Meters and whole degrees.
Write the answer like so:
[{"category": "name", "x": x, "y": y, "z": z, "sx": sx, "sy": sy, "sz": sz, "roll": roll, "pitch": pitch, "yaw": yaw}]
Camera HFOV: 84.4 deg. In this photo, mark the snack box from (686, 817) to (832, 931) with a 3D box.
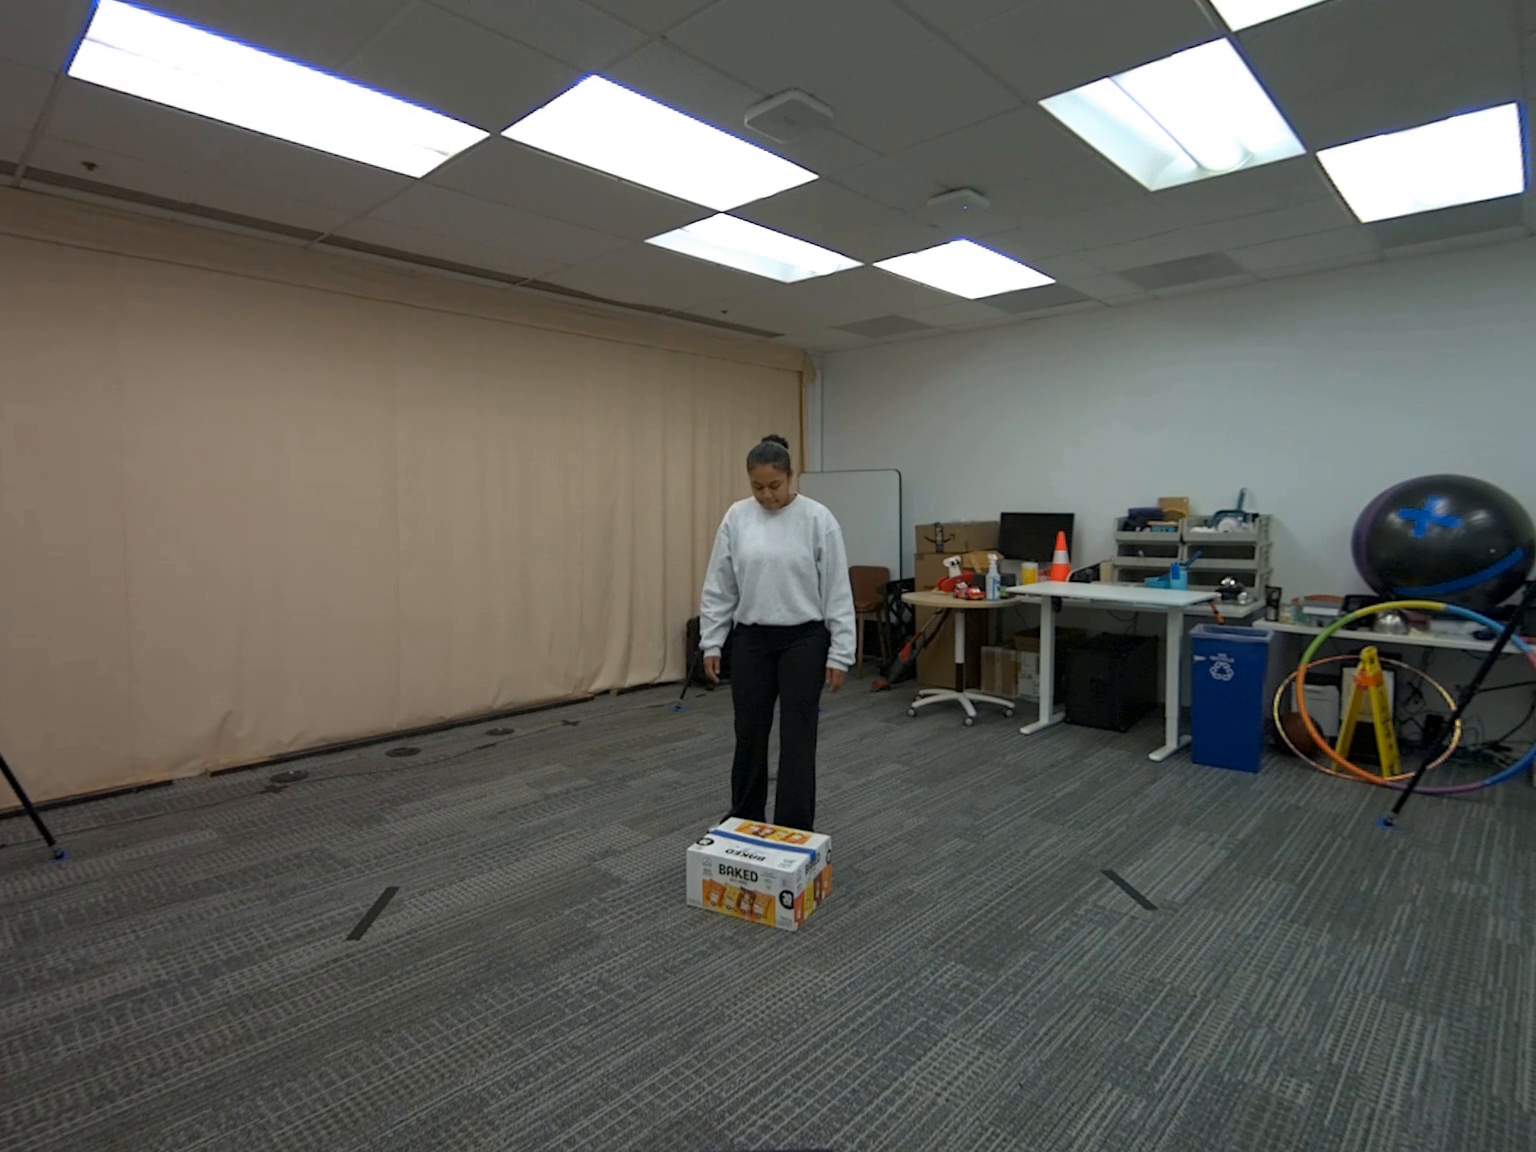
[{"category": "snack box", "x": -0.027, "y": 1.040, "z": 2.981, "sx": 0.416, "sy": 0.205, "sz": 0.332, "roll": 2, "pitch": 5, "yaw": 27}]
